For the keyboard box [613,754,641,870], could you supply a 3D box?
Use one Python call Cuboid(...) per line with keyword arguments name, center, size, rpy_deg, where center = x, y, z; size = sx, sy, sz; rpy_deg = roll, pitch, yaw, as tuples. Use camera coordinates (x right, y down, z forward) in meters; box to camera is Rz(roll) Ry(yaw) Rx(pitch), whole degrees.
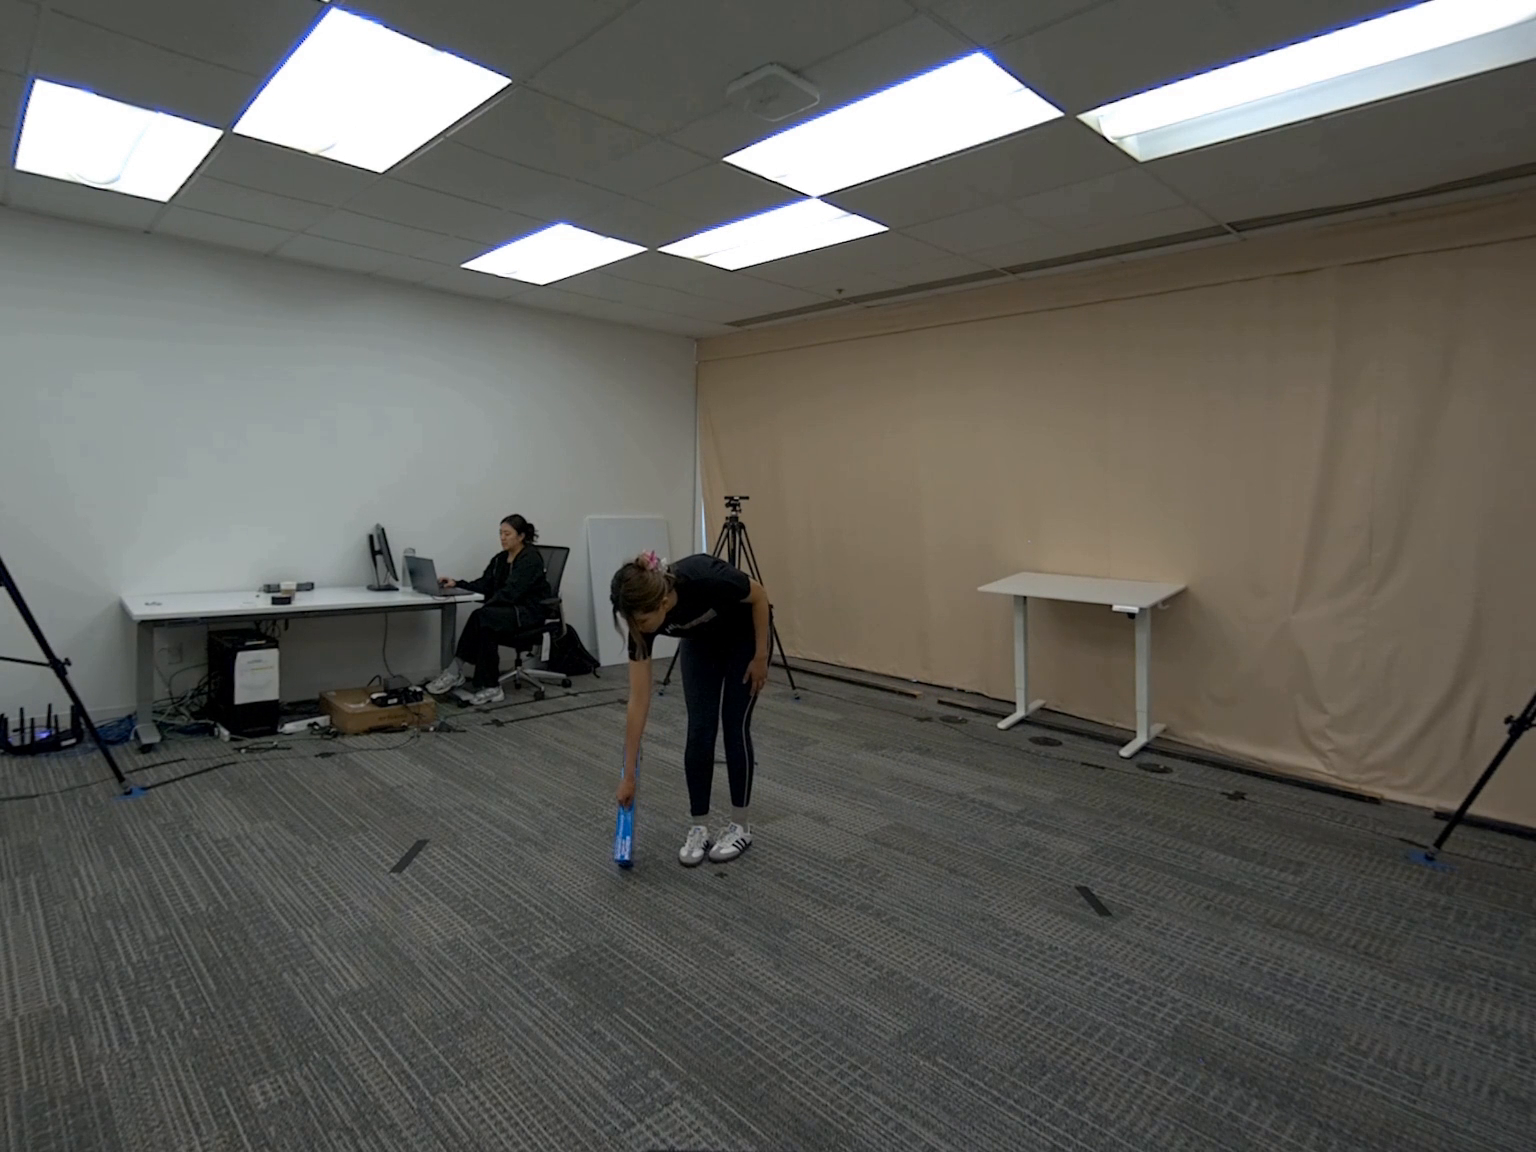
Cuboid(name="keyboard box", center=(-0.533, 0.866, 3.190), size=(0.059, 0.444, 0.173), rpy_deg=(1, -27, -2))
